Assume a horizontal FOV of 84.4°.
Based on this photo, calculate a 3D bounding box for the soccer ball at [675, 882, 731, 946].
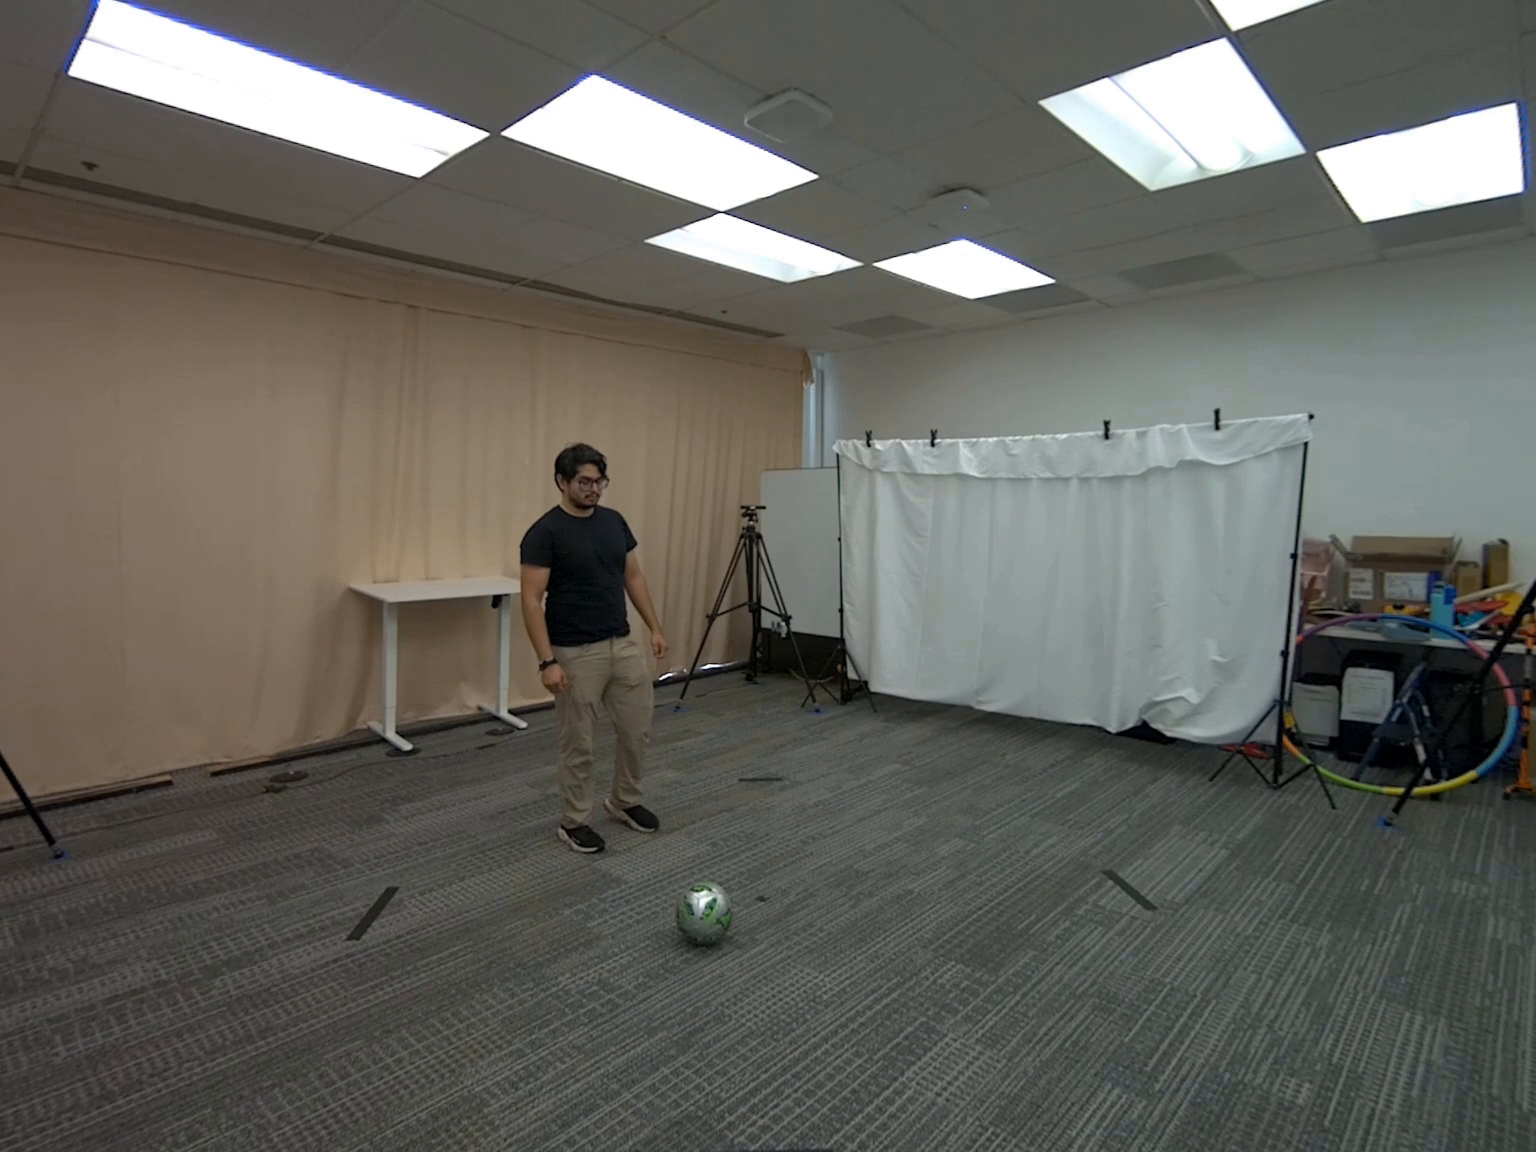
[{"bbox_3d":[-0.202,1.073,2.690,0.187,0.187,0.188,0,4,-2],"label":"soccer ball"}]
